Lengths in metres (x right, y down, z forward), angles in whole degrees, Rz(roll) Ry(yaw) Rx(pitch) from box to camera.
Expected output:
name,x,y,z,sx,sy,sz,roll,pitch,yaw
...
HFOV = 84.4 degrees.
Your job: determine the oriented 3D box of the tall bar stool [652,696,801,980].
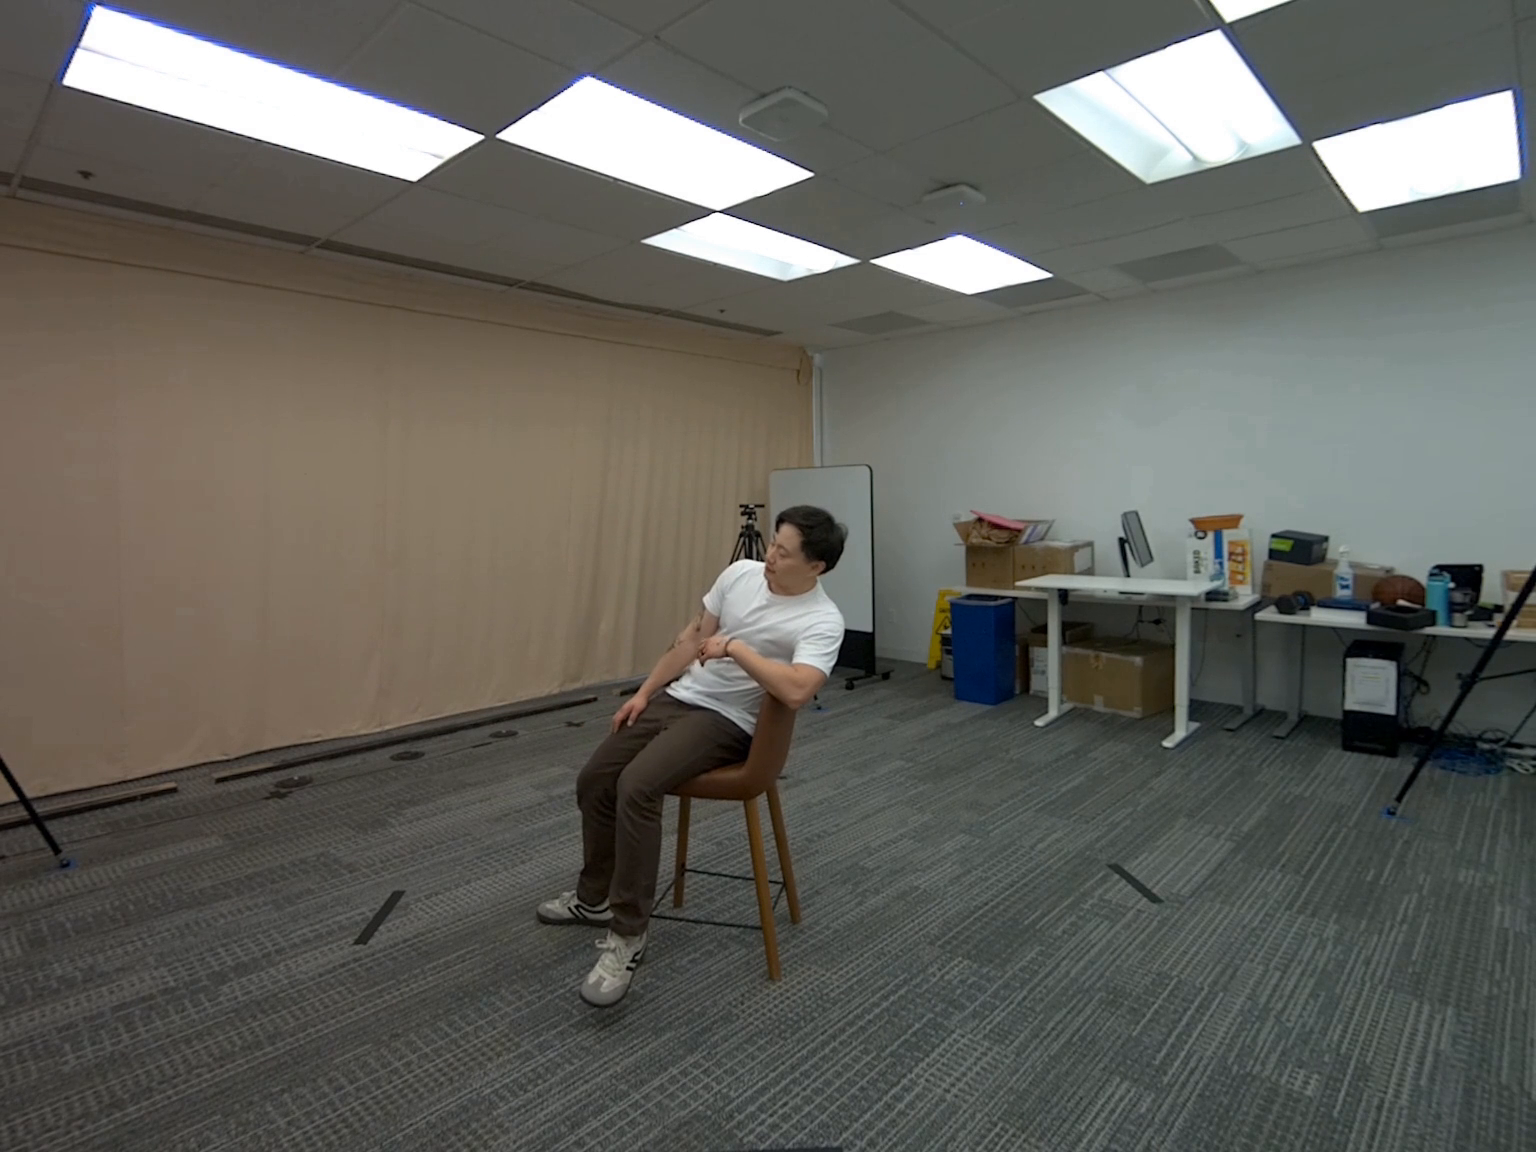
name,x,y,z,sx,sy,sz,roll,pitch,yaw
tall bar stool,-0.149,0.740,2.668,0.476,0.887,0.450,2,5,15
